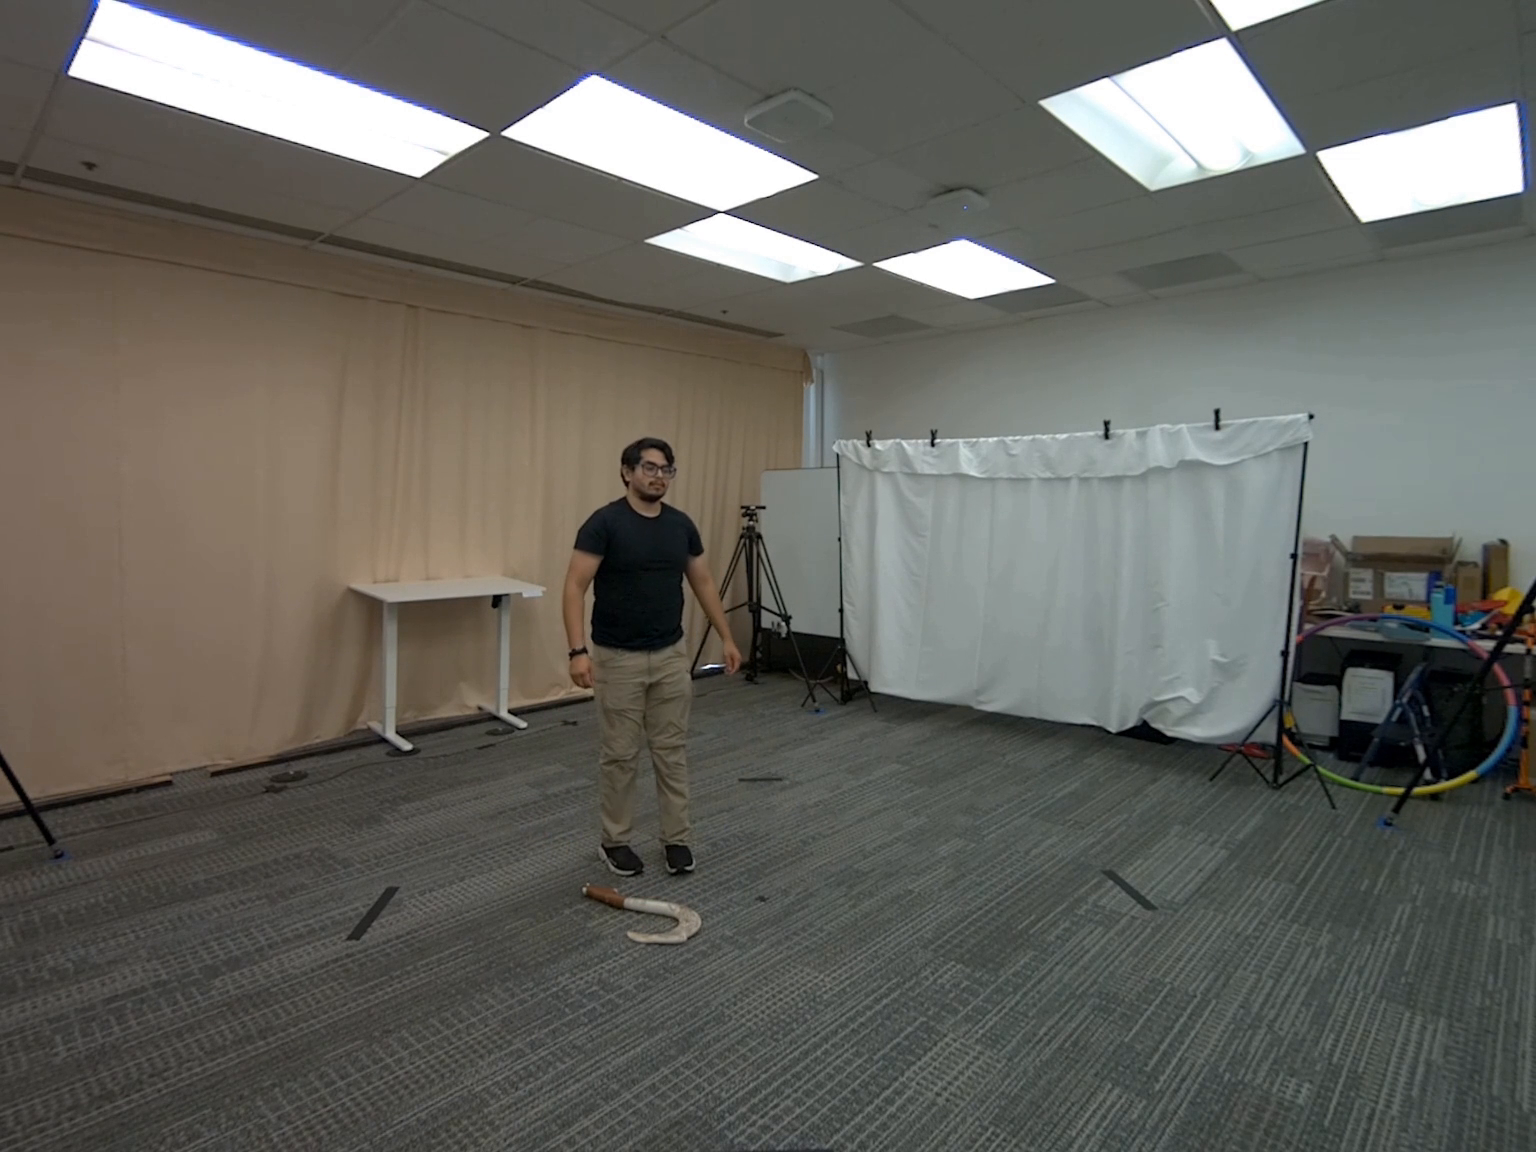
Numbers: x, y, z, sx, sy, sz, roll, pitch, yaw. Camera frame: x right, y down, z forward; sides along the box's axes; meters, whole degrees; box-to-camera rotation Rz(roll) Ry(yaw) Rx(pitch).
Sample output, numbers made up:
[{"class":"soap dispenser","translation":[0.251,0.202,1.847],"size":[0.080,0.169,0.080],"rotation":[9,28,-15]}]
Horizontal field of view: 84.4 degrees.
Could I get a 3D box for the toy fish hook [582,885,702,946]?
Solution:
[{"class":"toy fish hook","translation":[-0.462,1.139,2.841],"size":[0.521,0.048,0.218],"rotation":[2,4,31]}]
